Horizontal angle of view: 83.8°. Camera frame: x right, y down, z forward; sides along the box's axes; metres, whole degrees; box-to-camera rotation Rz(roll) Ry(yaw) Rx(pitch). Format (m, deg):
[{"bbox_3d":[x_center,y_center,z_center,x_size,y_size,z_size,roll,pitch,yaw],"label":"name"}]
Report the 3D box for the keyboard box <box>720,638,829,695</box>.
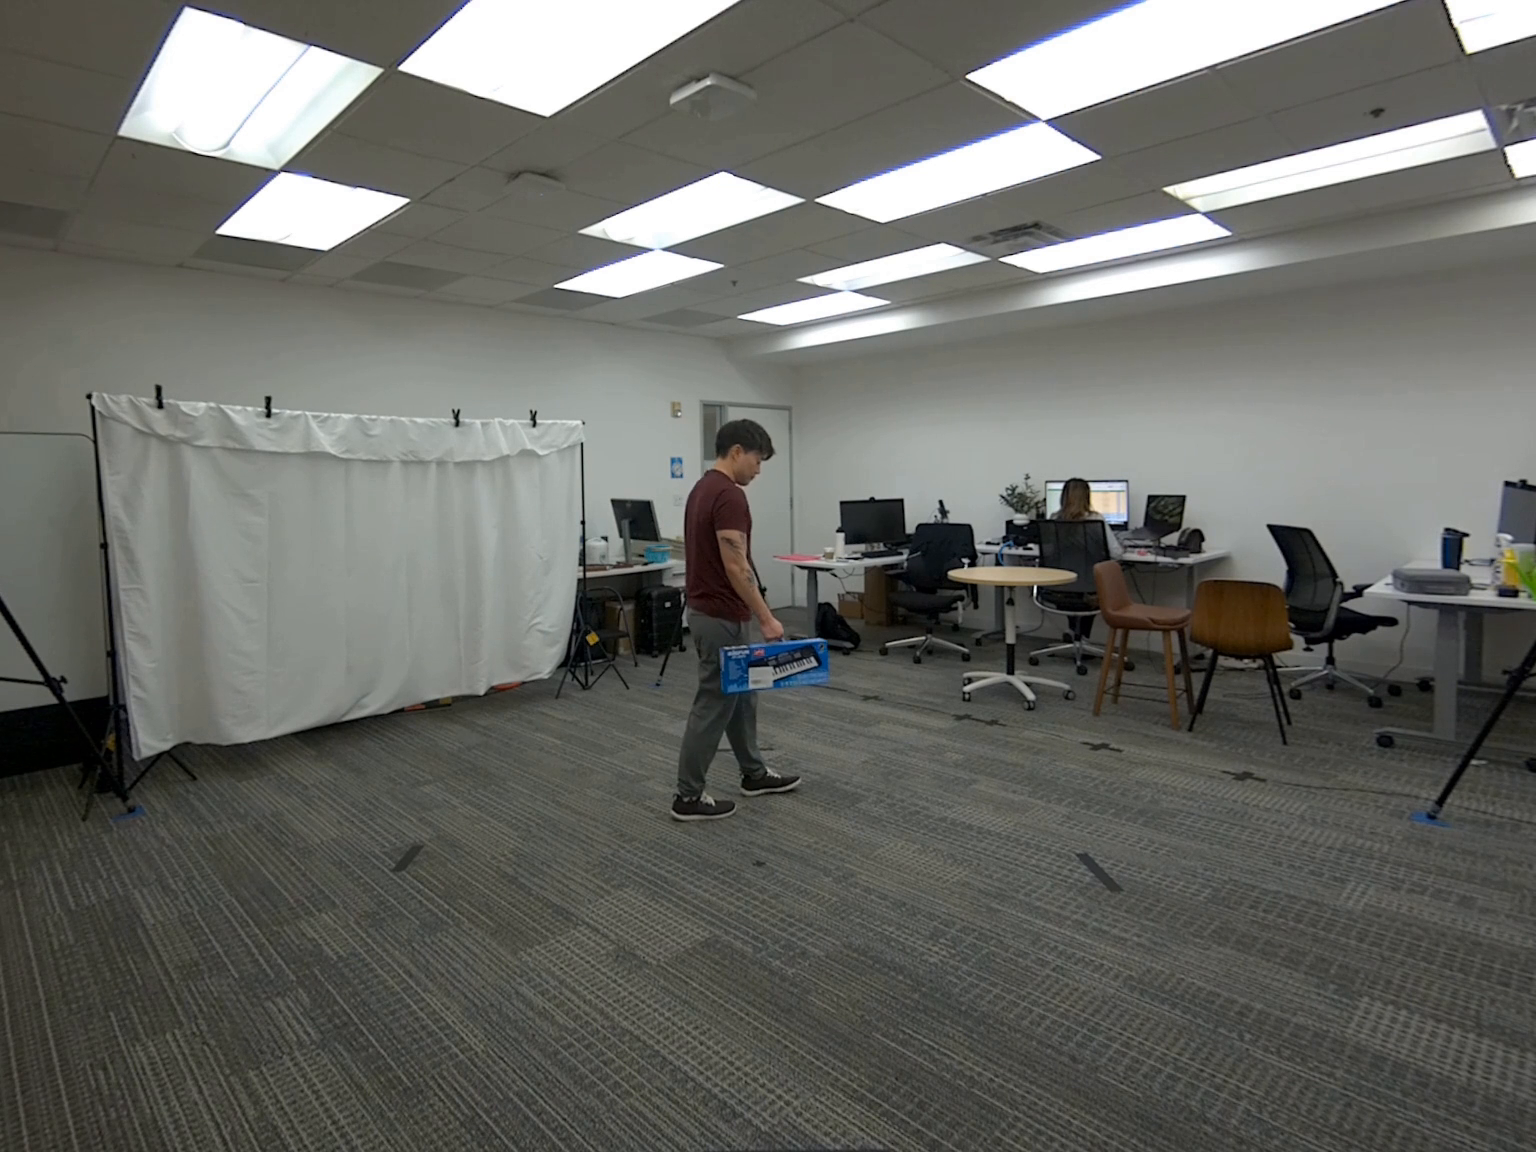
[{"bbox_3d":[0.022,0.350,3.379,0.429,0.176,0.060,-4,2,-20],"label":"keyboard box"}]
